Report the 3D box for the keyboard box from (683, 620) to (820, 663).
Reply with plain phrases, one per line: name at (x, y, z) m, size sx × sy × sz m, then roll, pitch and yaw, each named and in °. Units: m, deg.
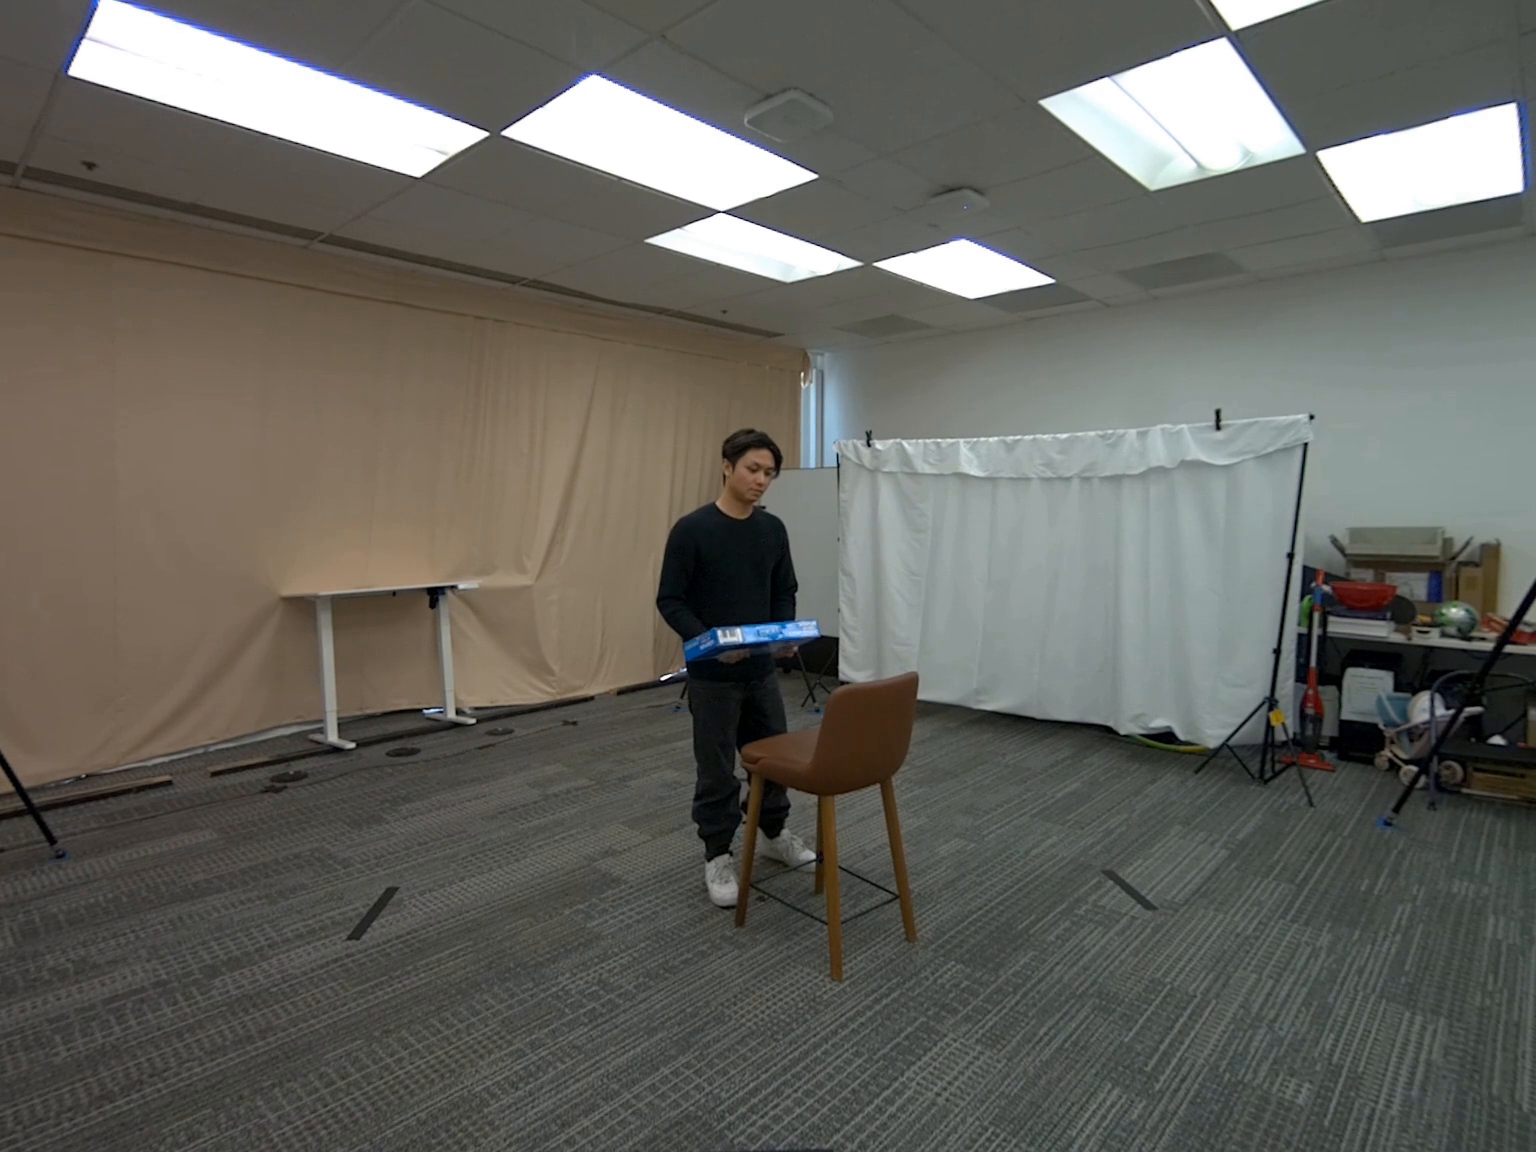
keyboard box at (-0.057, 0.207, 2.720) m, size 0.423 × 0.060 × 0.179 m, roll -1°, pitch -18°, yaw -41°
